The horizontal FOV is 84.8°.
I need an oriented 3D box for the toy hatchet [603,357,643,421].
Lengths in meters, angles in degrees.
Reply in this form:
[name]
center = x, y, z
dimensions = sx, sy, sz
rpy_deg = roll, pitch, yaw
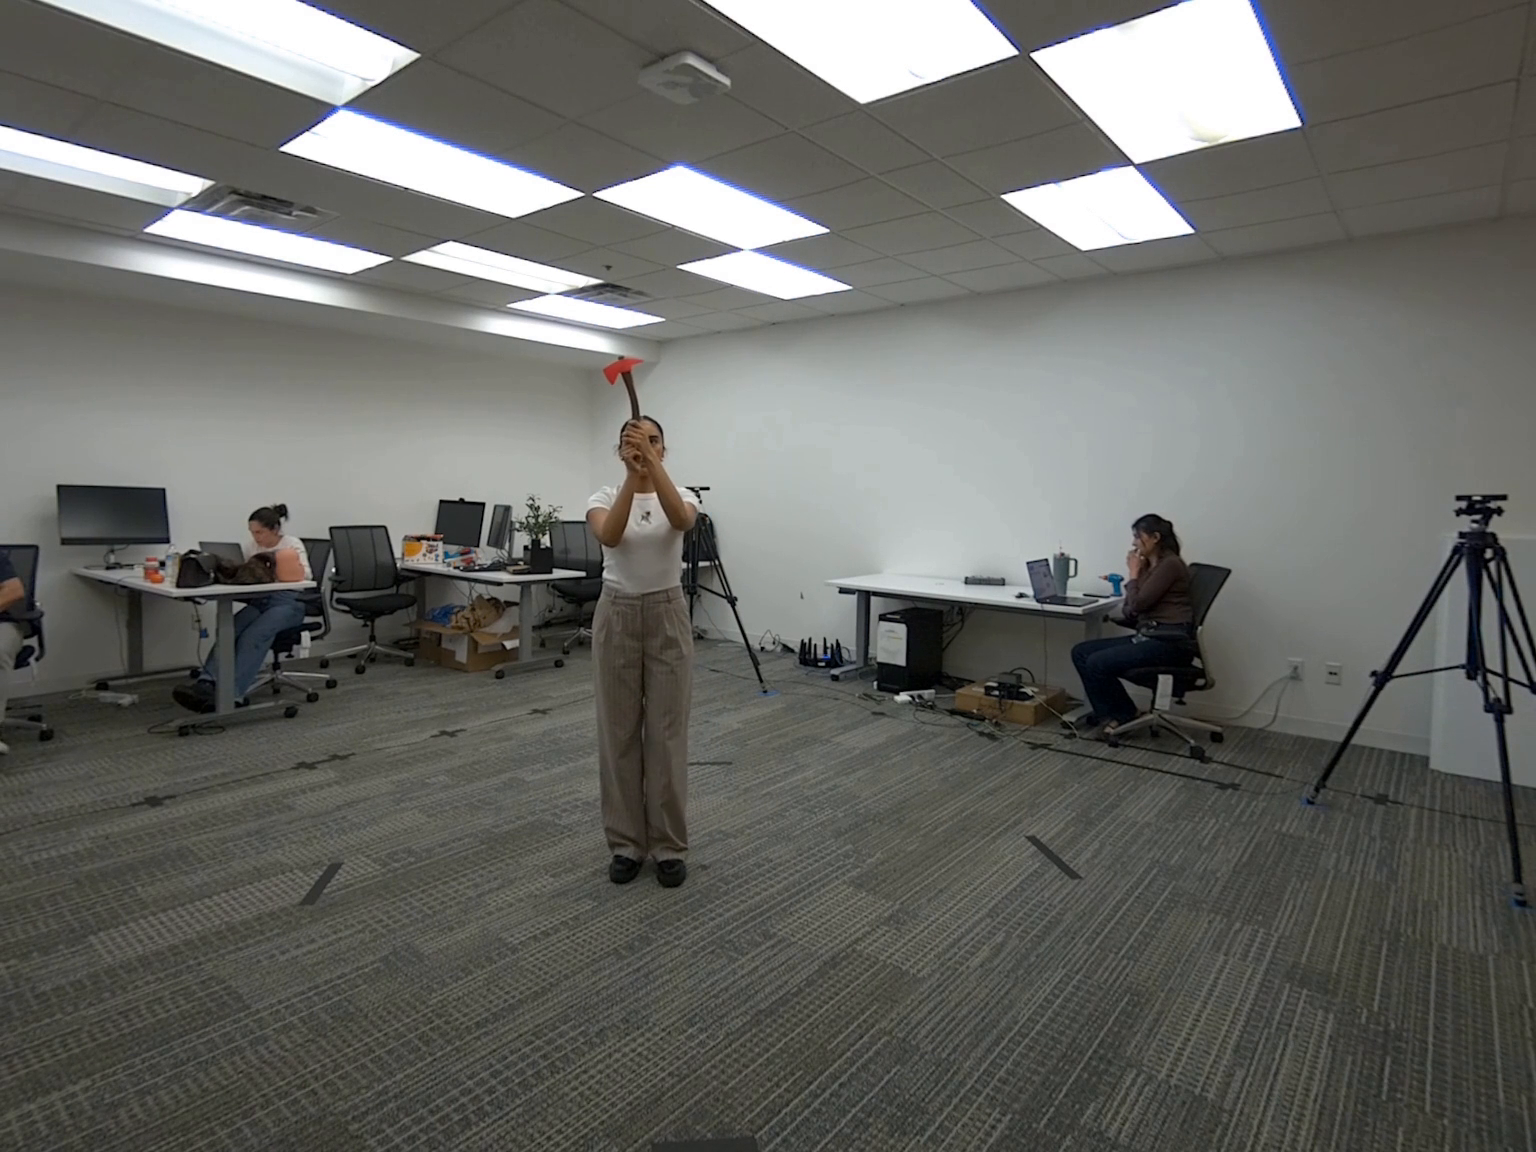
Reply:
[toy hatchet]
center = -0.482, -0.584, 2.756
dimensions = 0.129, 0.269, 0.030
rpy_deg = 2, 4, -14
